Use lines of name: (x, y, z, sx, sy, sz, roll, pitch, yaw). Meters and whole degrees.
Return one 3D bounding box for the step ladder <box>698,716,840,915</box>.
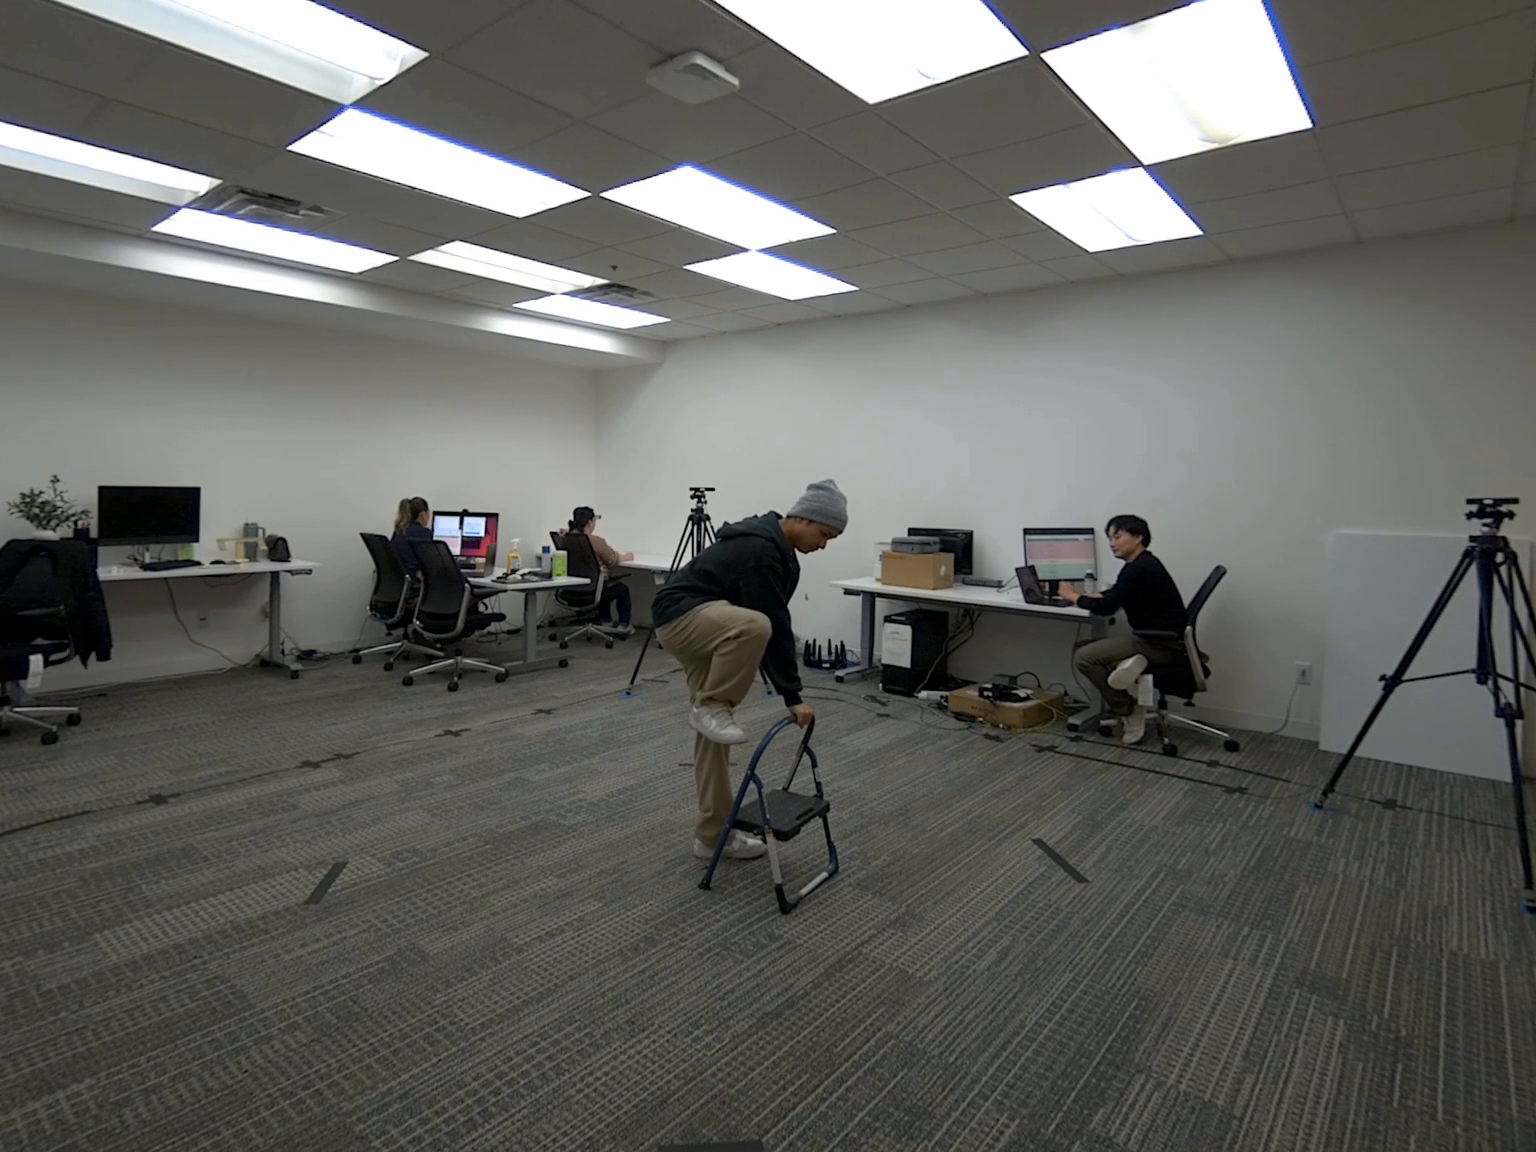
step ladder: (0.013, 0.776, 3.021, 0.360, 0.604, 0.419, 3, 4, 30)
